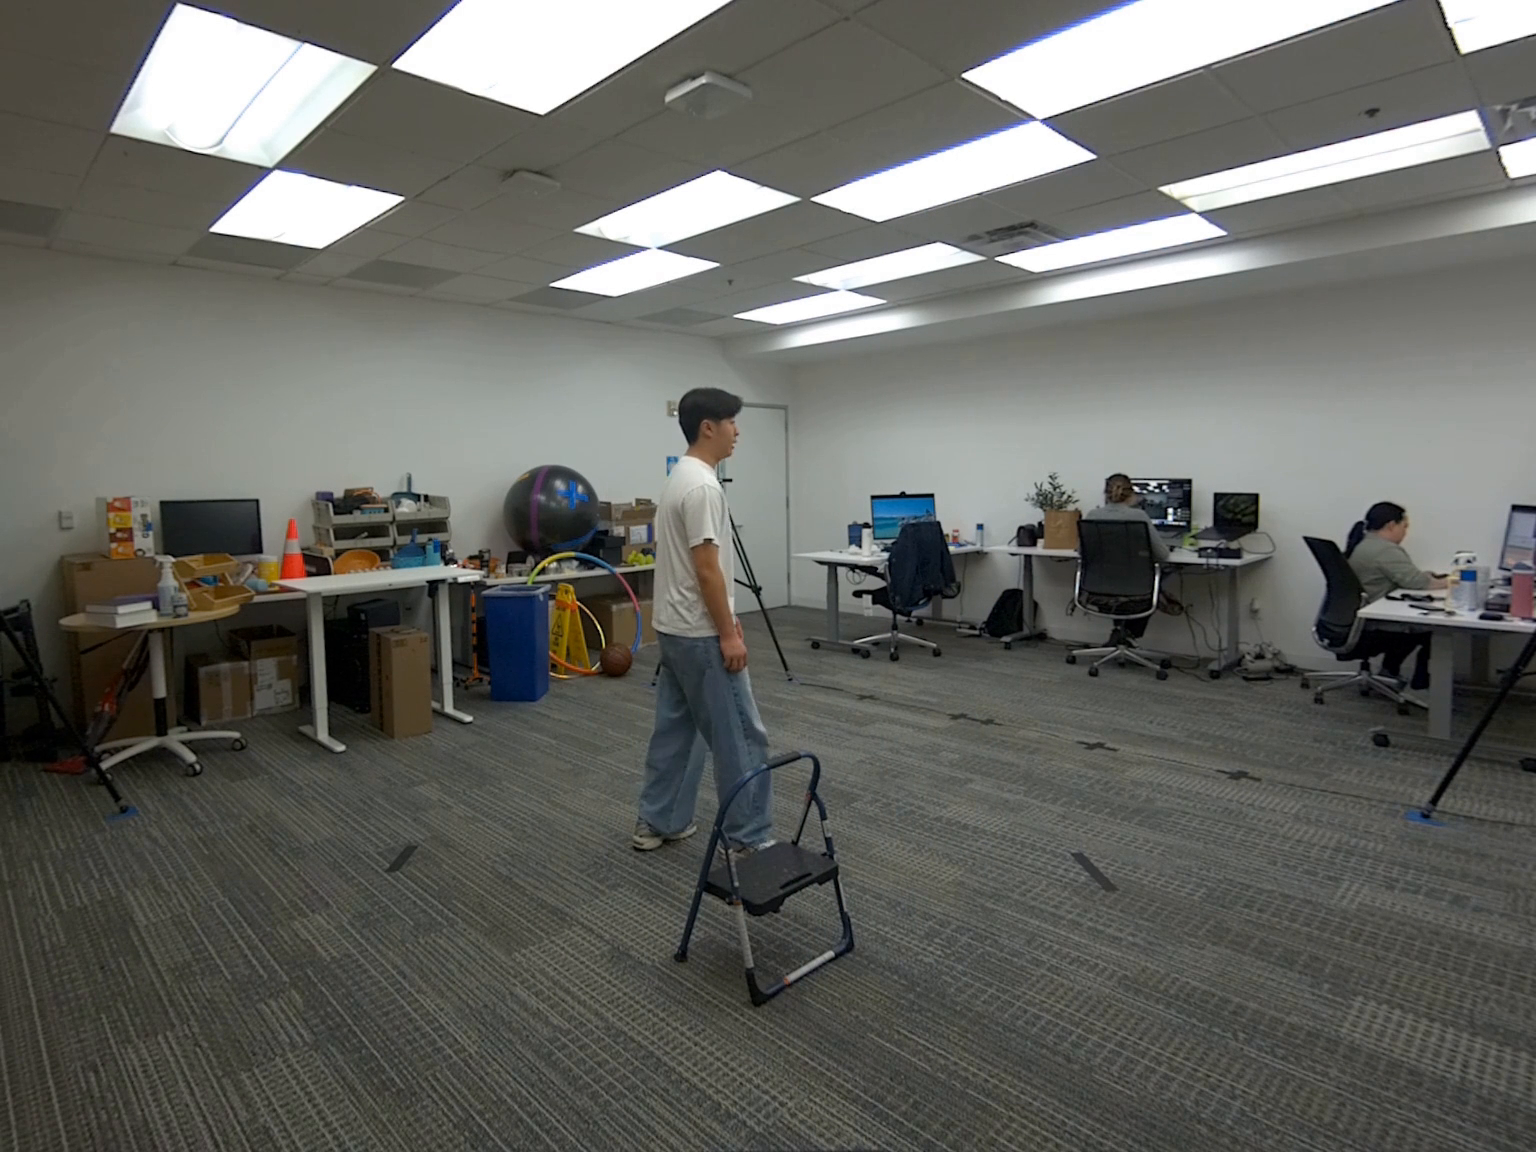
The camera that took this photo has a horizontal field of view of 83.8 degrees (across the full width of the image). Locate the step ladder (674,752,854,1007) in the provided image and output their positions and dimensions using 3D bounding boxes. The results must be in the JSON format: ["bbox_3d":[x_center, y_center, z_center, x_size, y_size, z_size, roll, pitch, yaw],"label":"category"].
[{"bbox_3d":[-0.009,0.812,2.500,0.360,0.603,0.419,3,7,45],"label":"step ladder"}]
